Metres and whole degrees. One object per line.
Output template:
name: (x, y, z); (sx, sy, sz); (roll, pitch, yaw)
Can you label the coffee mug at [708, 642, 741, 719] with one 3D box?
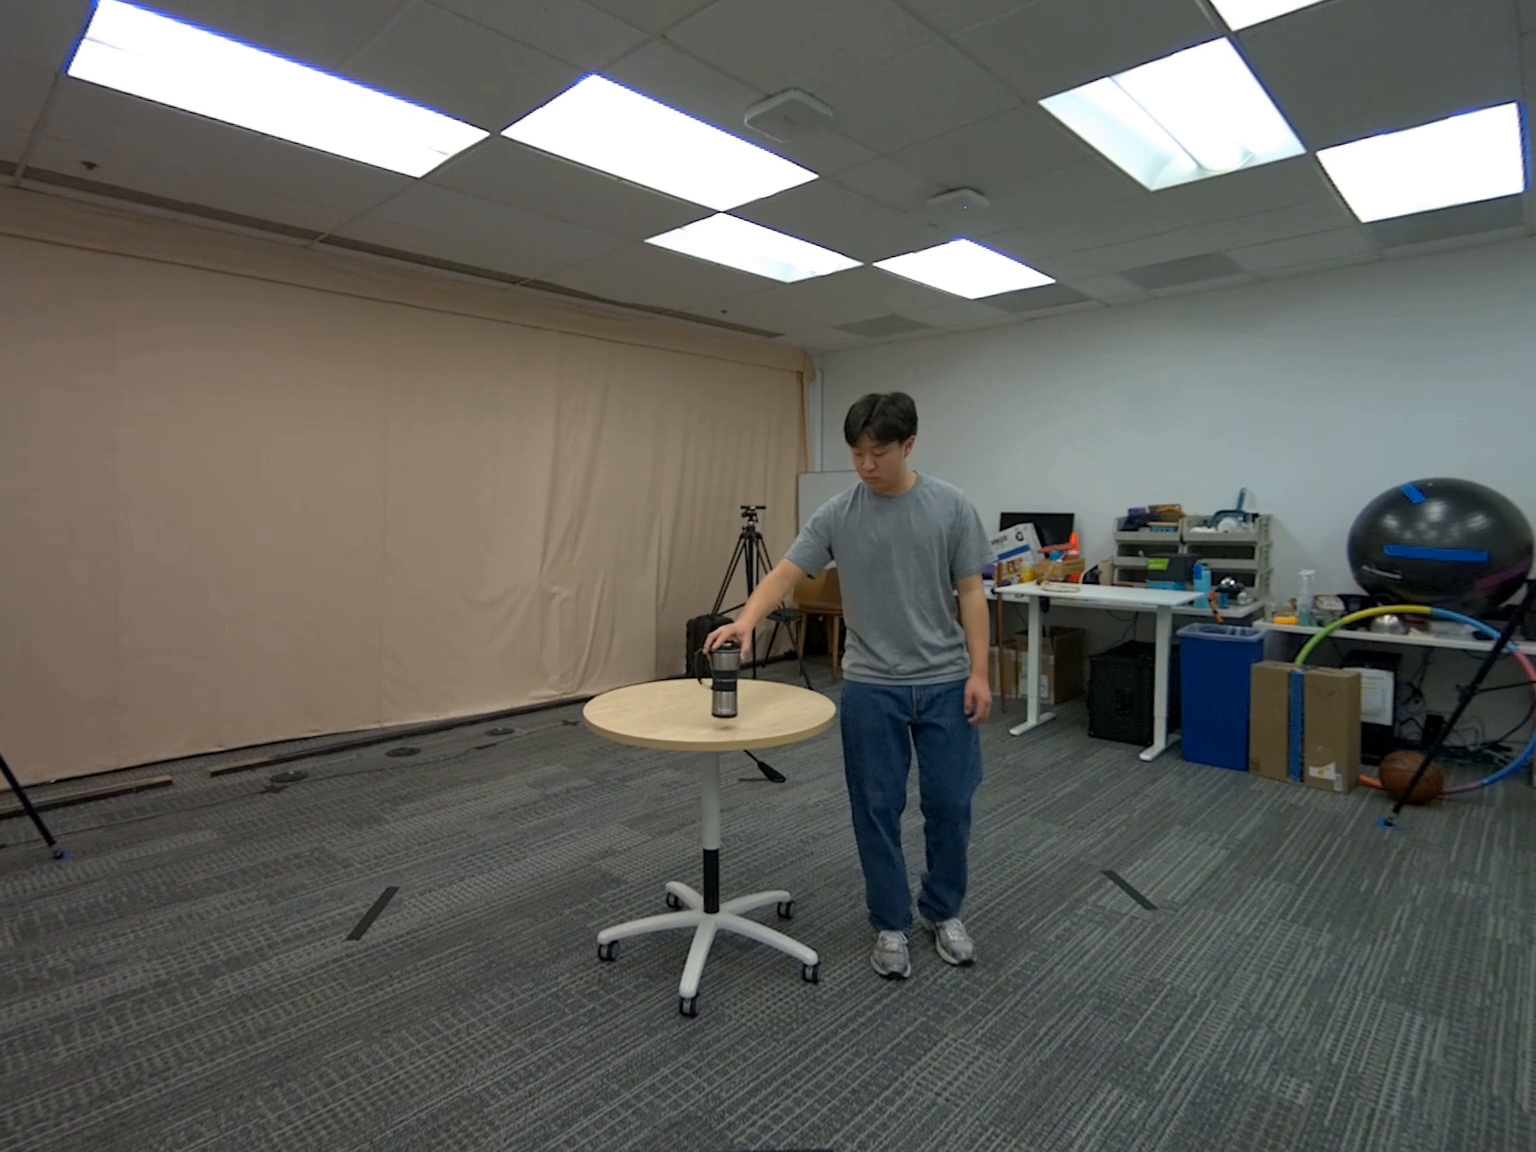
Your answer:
coffee mug: (-0.124, 0.285, 2.334); (0.125, 0.202, 0.086); (5, 4, 20)
